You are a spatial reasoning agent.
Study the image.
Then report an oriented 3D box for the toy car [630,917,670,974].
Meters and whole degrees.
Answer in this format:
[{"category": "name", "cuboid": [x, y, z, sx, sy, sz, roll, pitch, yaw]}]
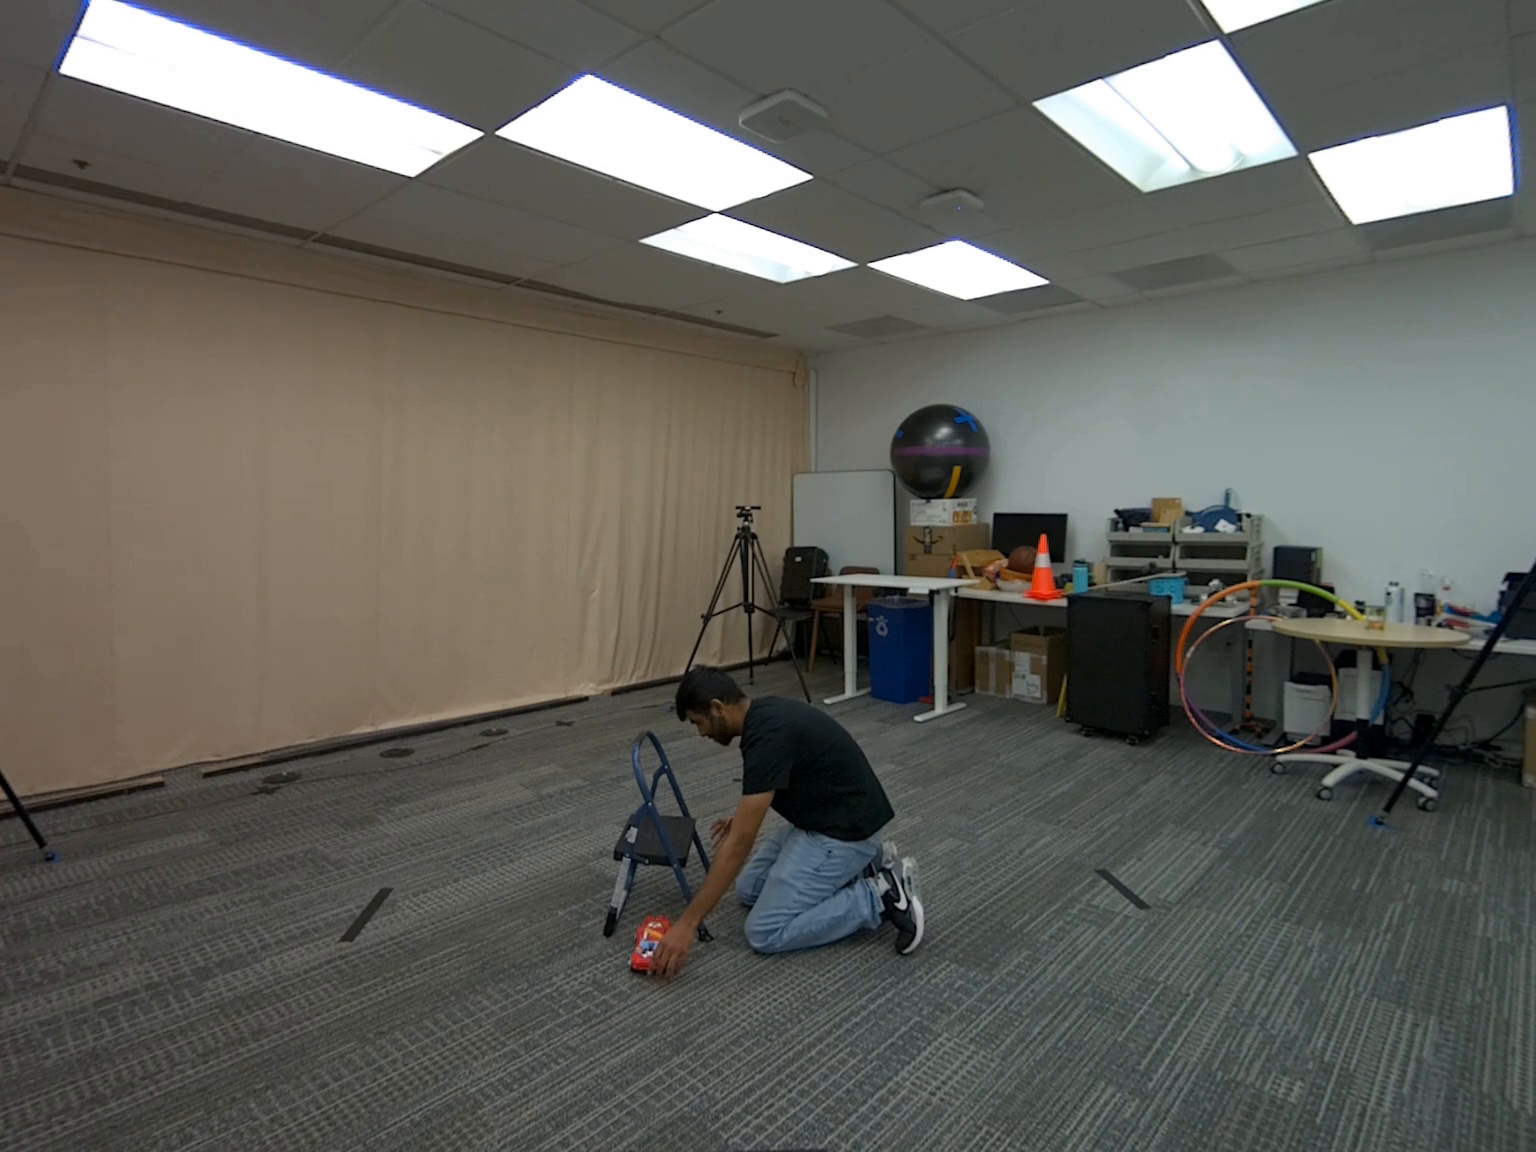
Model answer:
[{"category": "toy car", "cuboid": [-0.361, 1.161, 2.621, 0.131, 0.082, 0.256, 3, 19, 4]}]
